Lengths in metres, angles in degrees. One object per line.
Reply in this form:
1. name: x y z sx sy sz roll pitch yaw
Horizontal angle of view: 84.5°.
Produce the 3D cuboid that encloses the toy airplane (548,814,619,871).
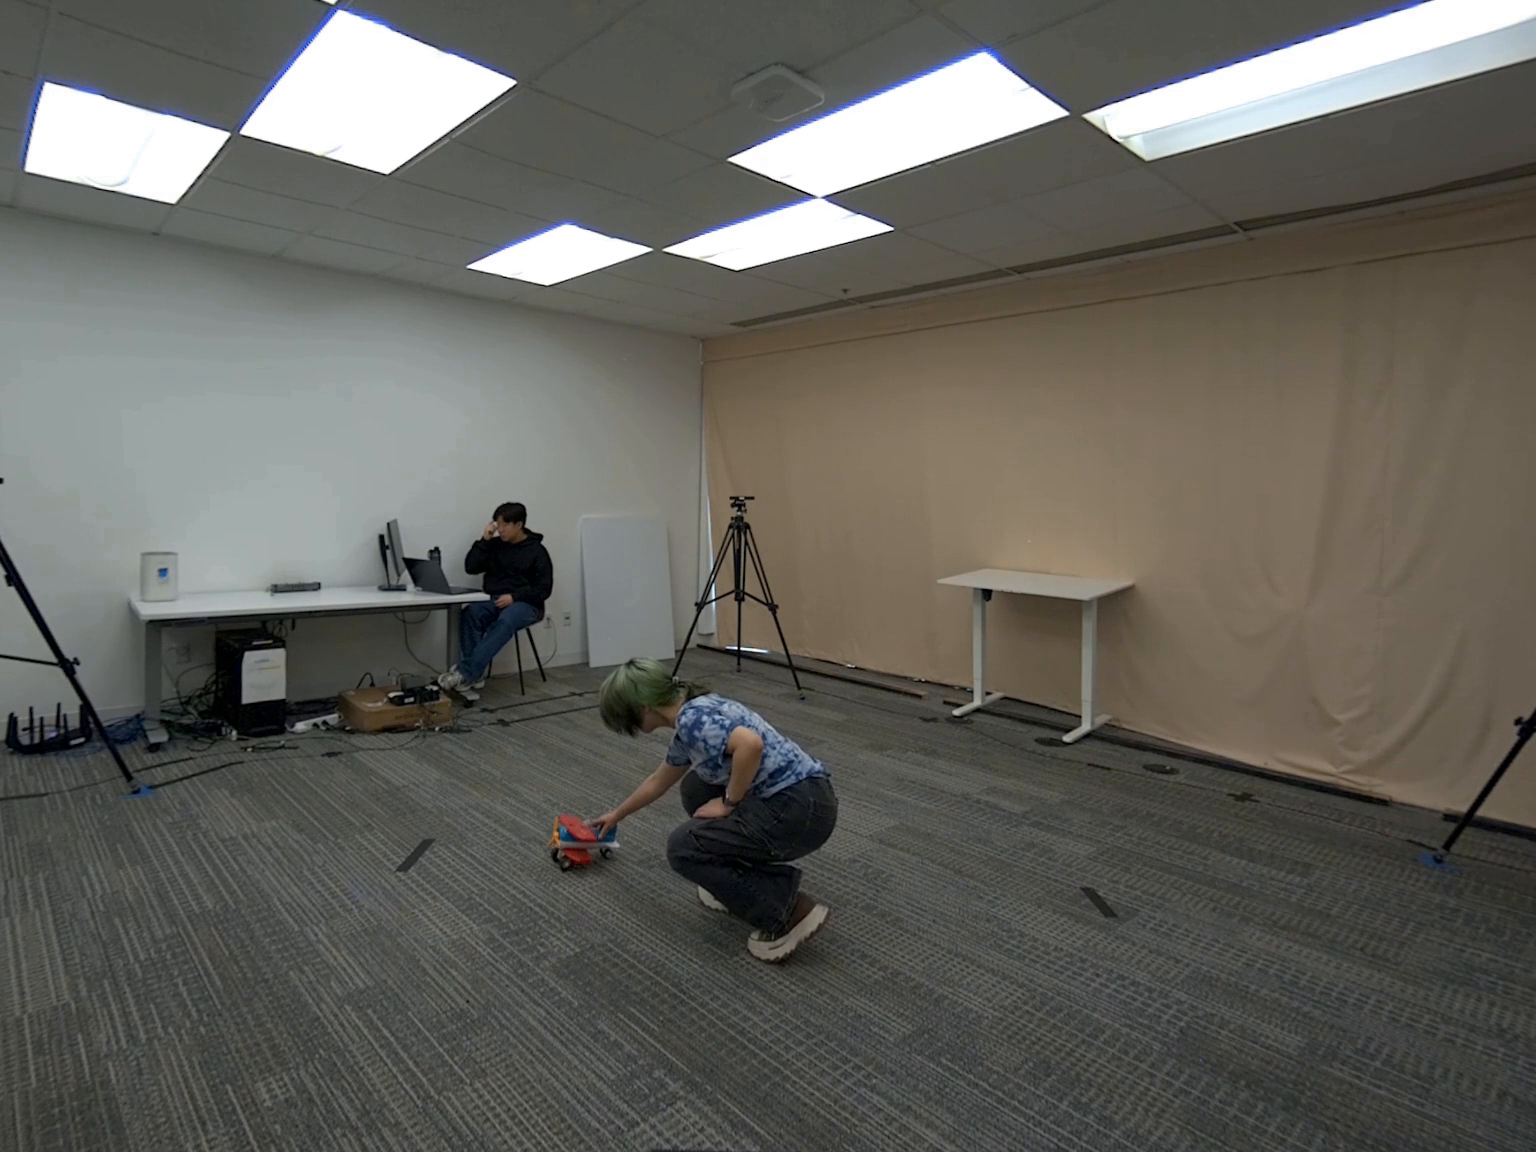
1. toy airplane: -0.714 1.009 3.193 0.256 0.156 0.254 5 7 29
